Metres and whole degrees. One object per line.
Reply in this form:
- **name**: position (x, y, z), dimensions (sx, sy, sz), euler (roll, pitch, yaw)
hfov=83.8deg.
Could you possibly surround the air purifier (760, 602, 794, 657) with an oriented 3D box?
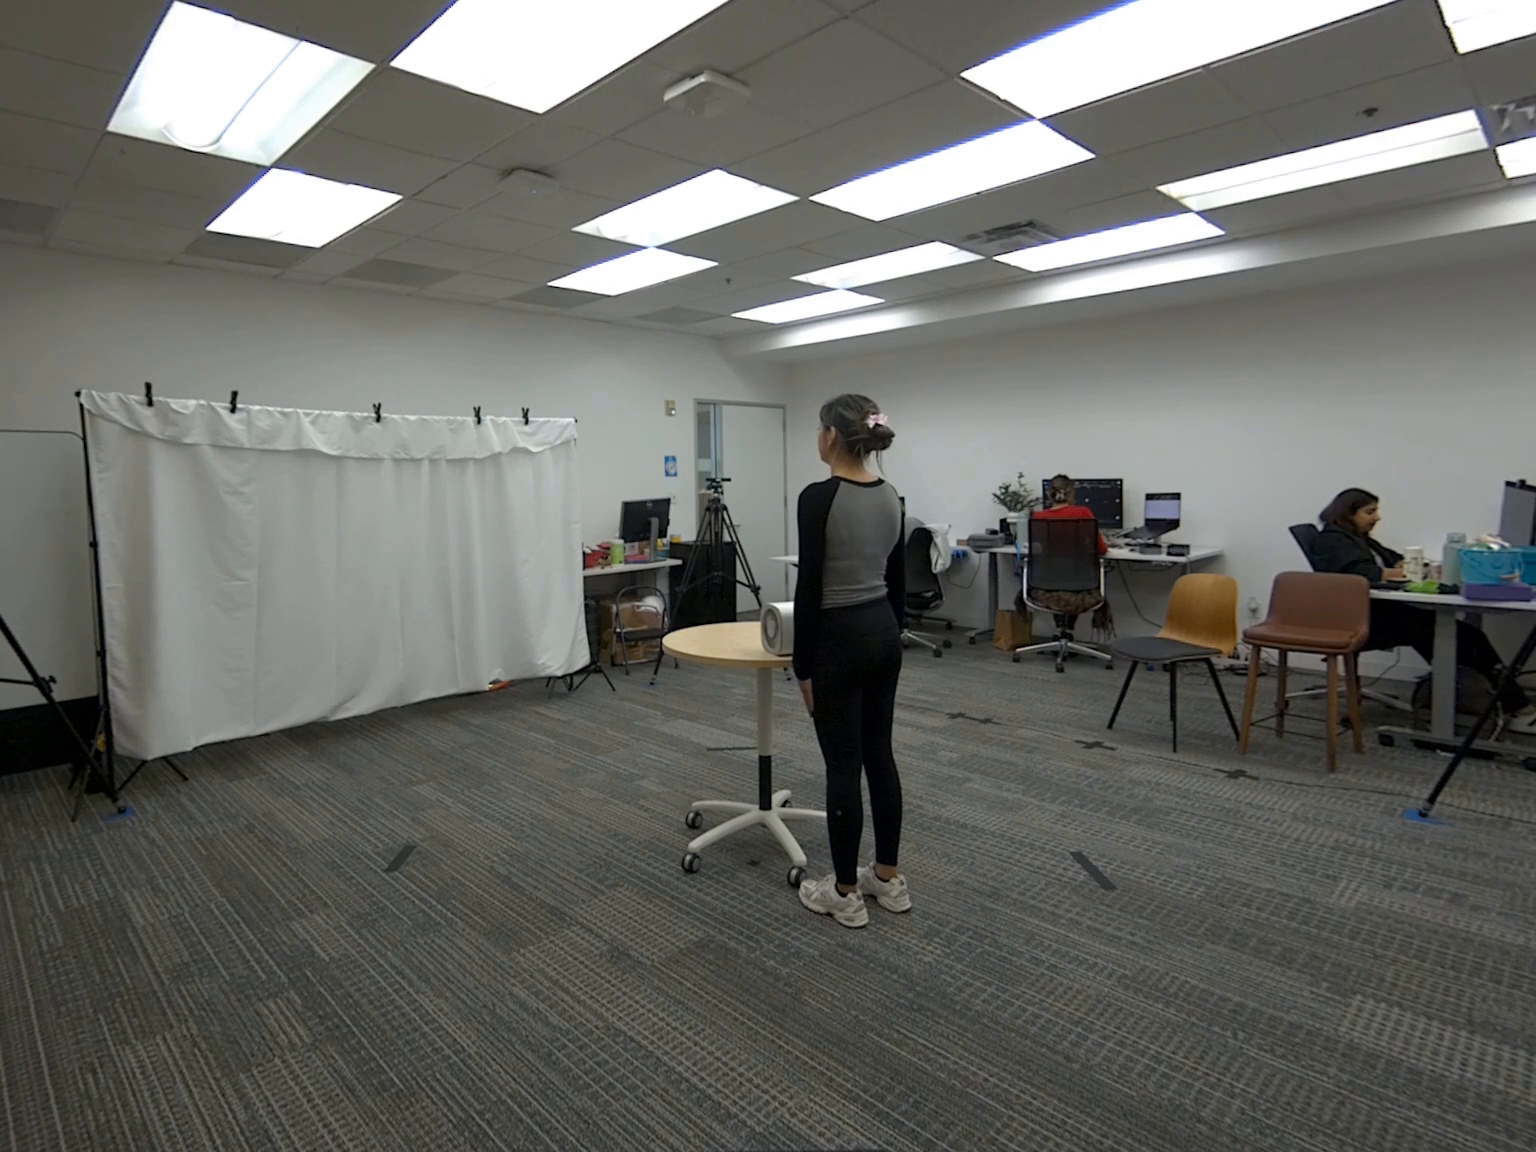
- **air purifier**: position (0.132, 0.174, 2.977), dimensions (0.260, 0.171, 0.175), euler (-2, 5, -23)
